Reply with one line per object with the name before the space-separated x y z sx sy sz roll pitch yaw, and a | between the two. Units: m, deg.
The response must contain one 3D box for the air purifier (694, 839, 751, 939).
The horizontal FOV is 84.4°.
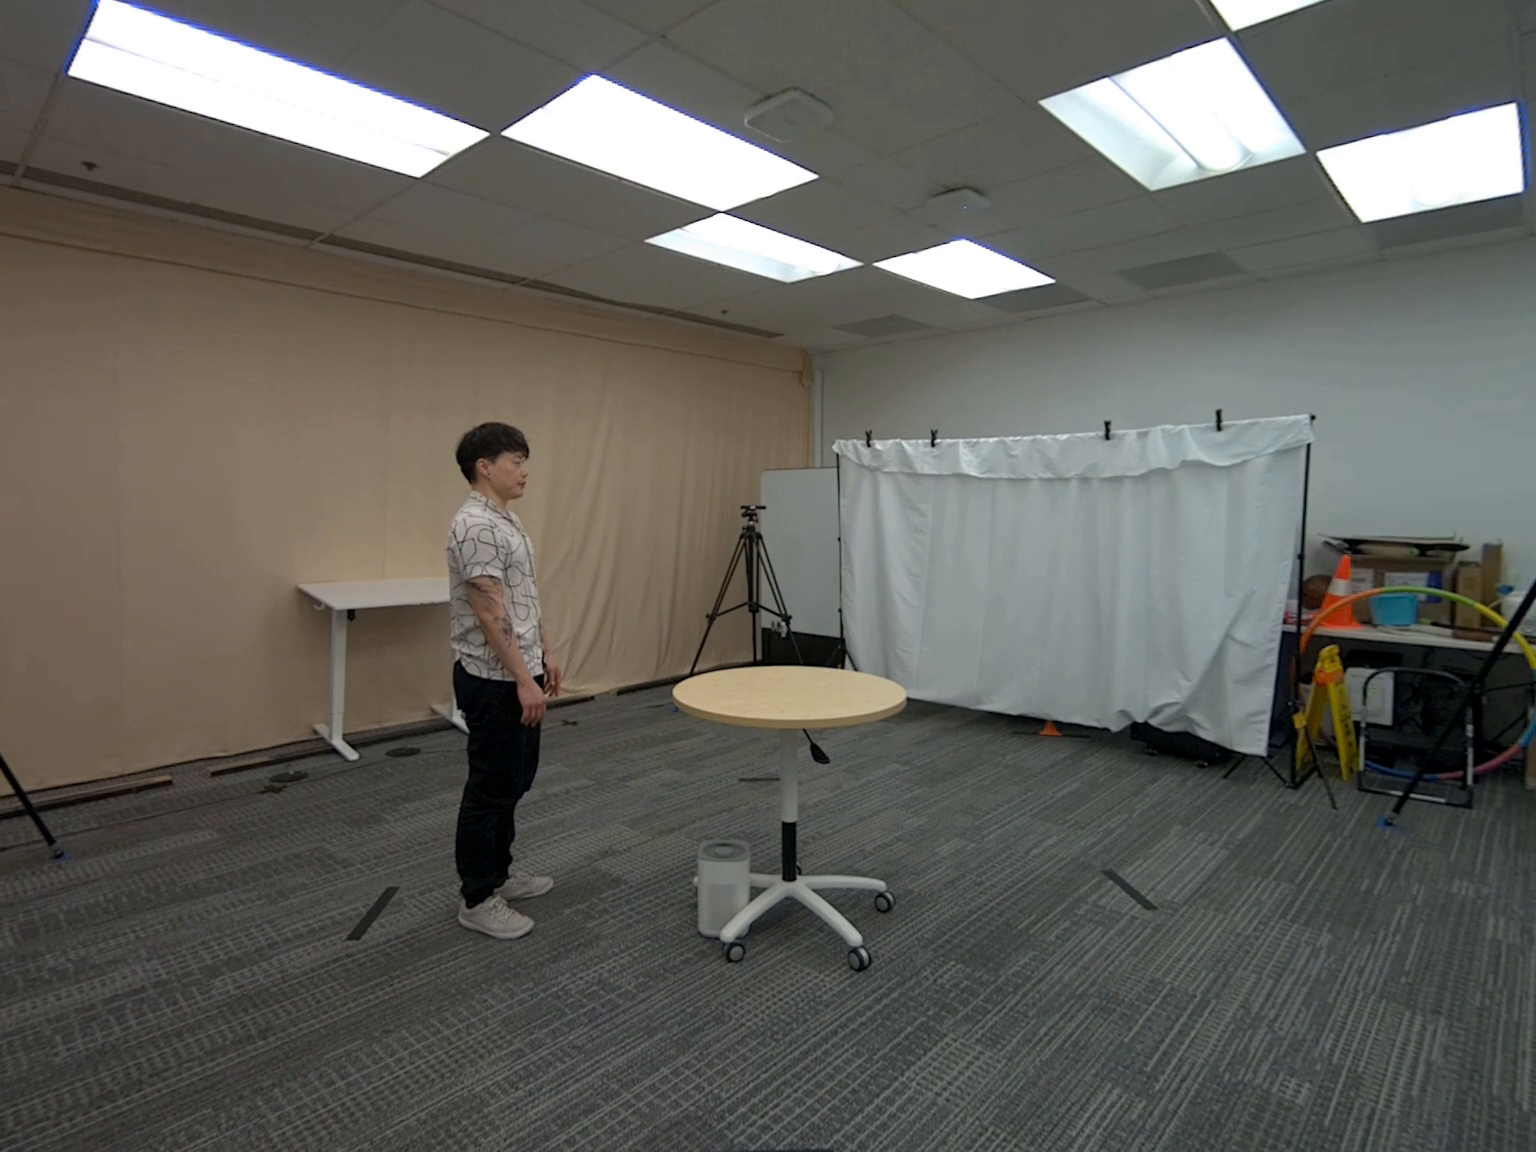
air purifier | -0.143 1.032 2.758 0.172 0.265 0.171 0 2 0
